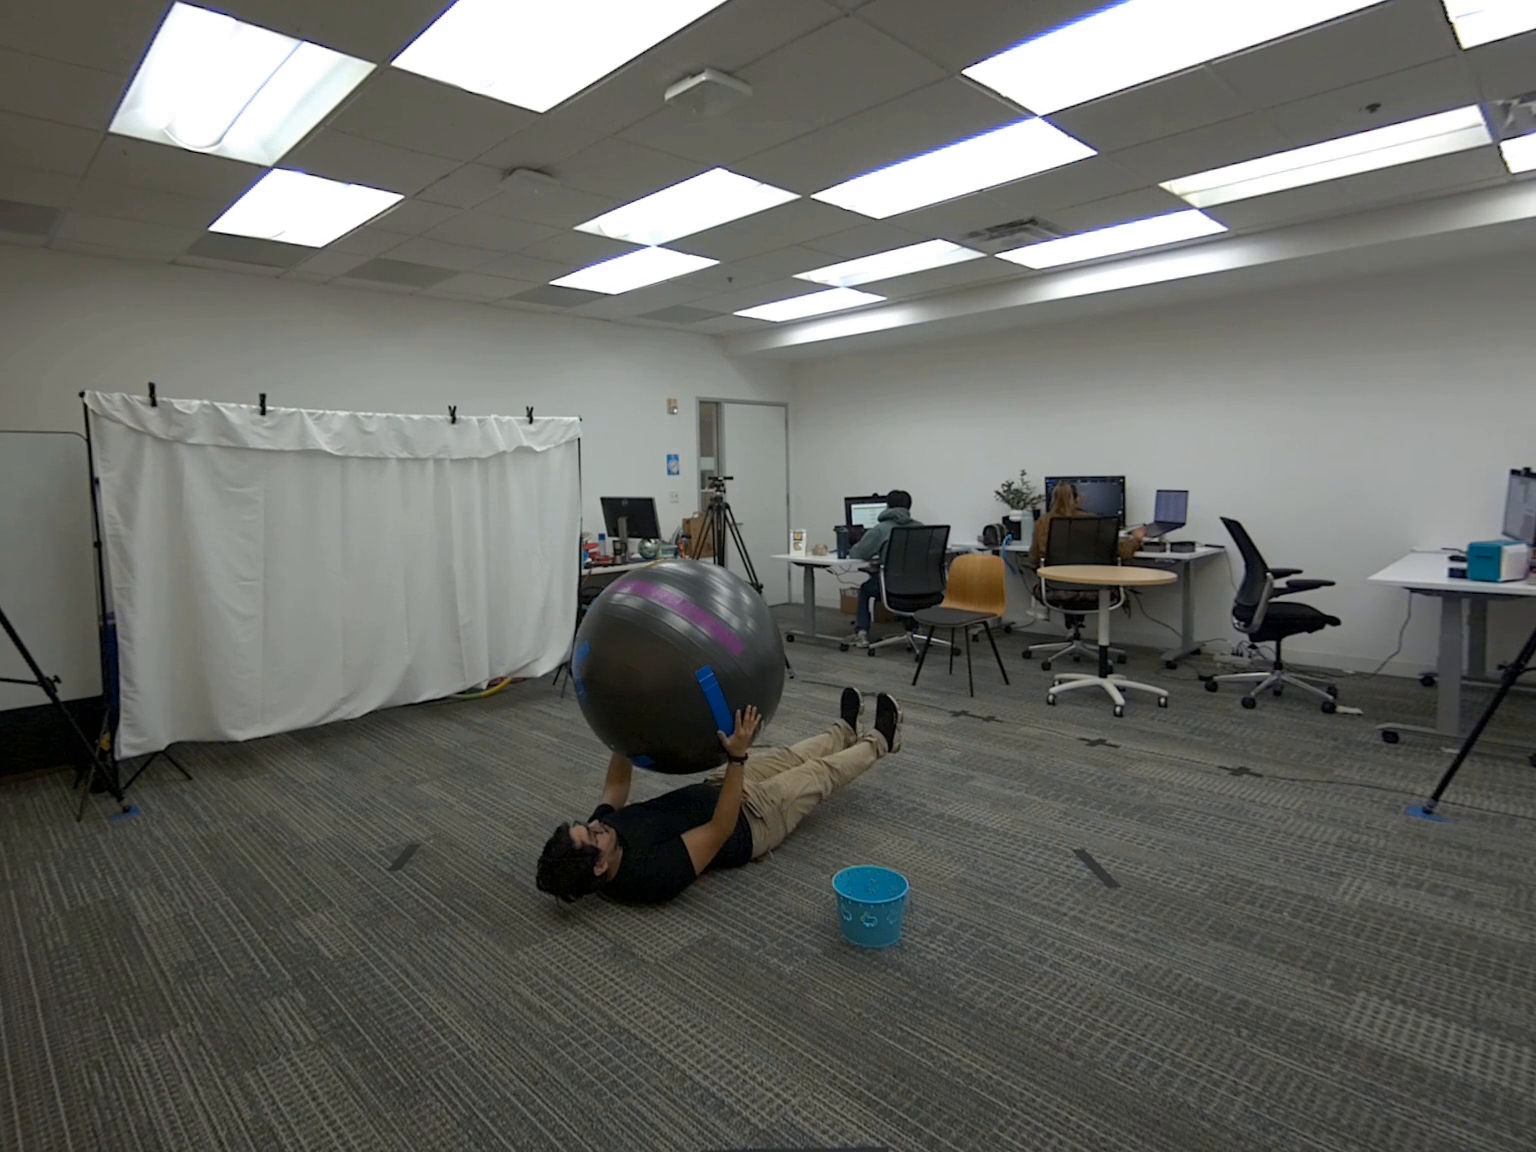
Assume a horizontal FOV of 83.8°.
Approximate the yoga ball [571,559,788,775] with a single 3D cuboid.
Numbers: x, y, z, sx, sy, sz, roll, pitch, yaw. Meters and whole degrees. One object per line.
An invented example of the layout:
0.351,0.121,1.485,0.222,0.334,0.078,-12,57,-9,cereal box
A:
-0.319,0.324,3.053,0.757,0.755,0.761,-1,4,-2,yoga ball
